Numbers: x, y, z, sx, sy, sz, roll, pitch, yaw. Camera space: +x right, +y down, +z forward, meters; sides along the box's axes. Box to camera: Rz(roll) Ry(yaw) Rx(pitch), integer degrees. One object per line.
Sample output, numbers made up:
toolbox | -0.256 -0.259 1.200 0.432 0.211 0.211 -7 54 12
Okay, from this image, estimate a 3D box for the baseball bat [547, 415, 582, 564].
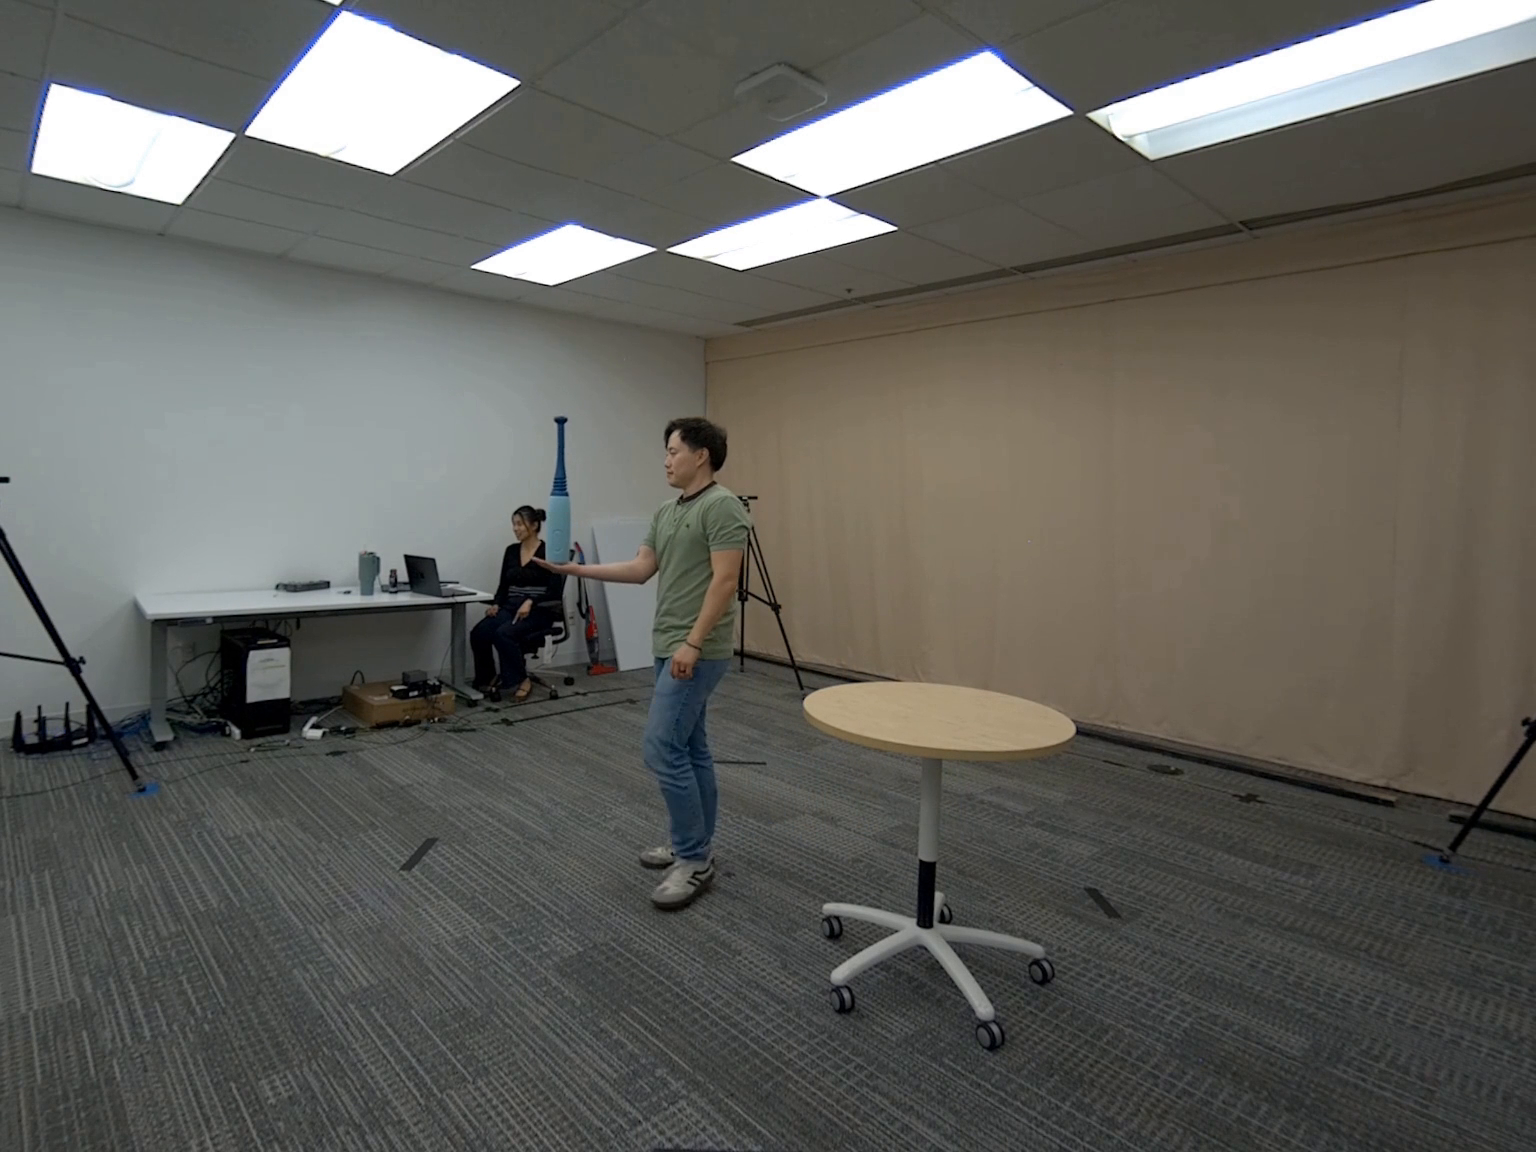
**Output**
baseball bat | -0.766 -0.314 3.072 0.089 0.542 0.089 2 3 -2
